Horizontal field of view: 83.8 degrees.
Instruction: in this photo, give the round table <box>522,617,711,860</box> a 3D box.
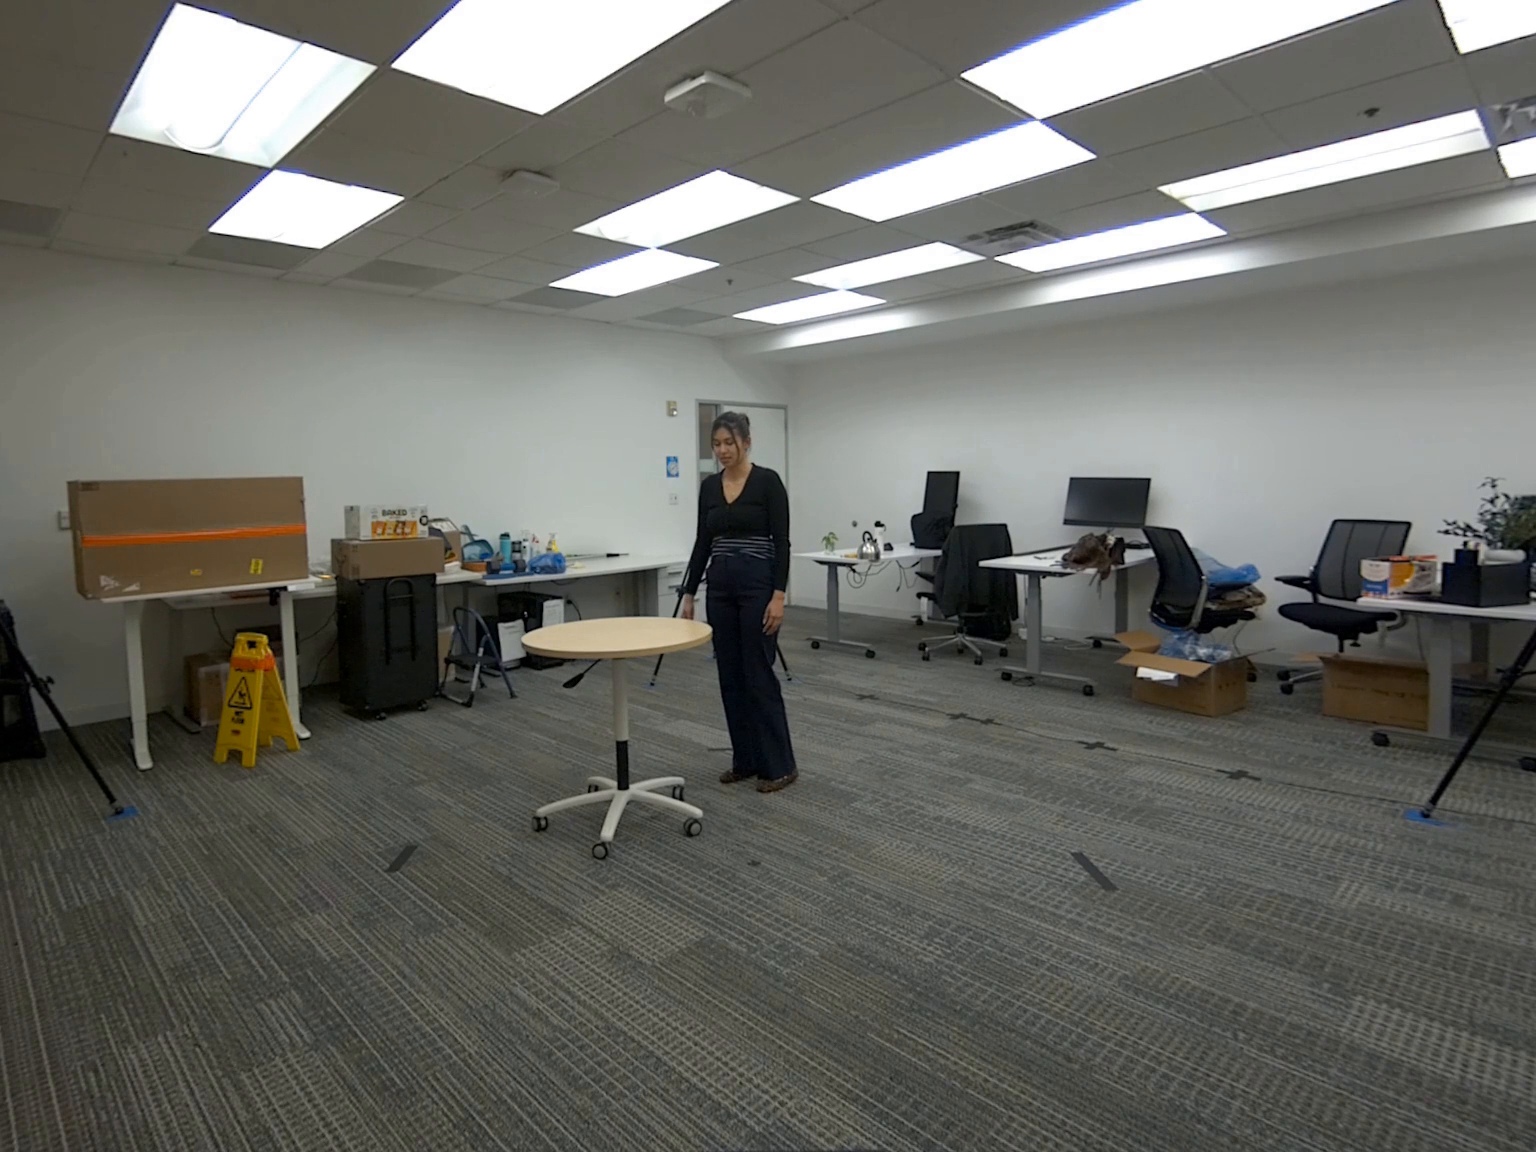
[{"bbox_3d":[-0.594,0.622,3.485,0.763,0.791,0.768,-2,5,-2],"label":"round table"}]
